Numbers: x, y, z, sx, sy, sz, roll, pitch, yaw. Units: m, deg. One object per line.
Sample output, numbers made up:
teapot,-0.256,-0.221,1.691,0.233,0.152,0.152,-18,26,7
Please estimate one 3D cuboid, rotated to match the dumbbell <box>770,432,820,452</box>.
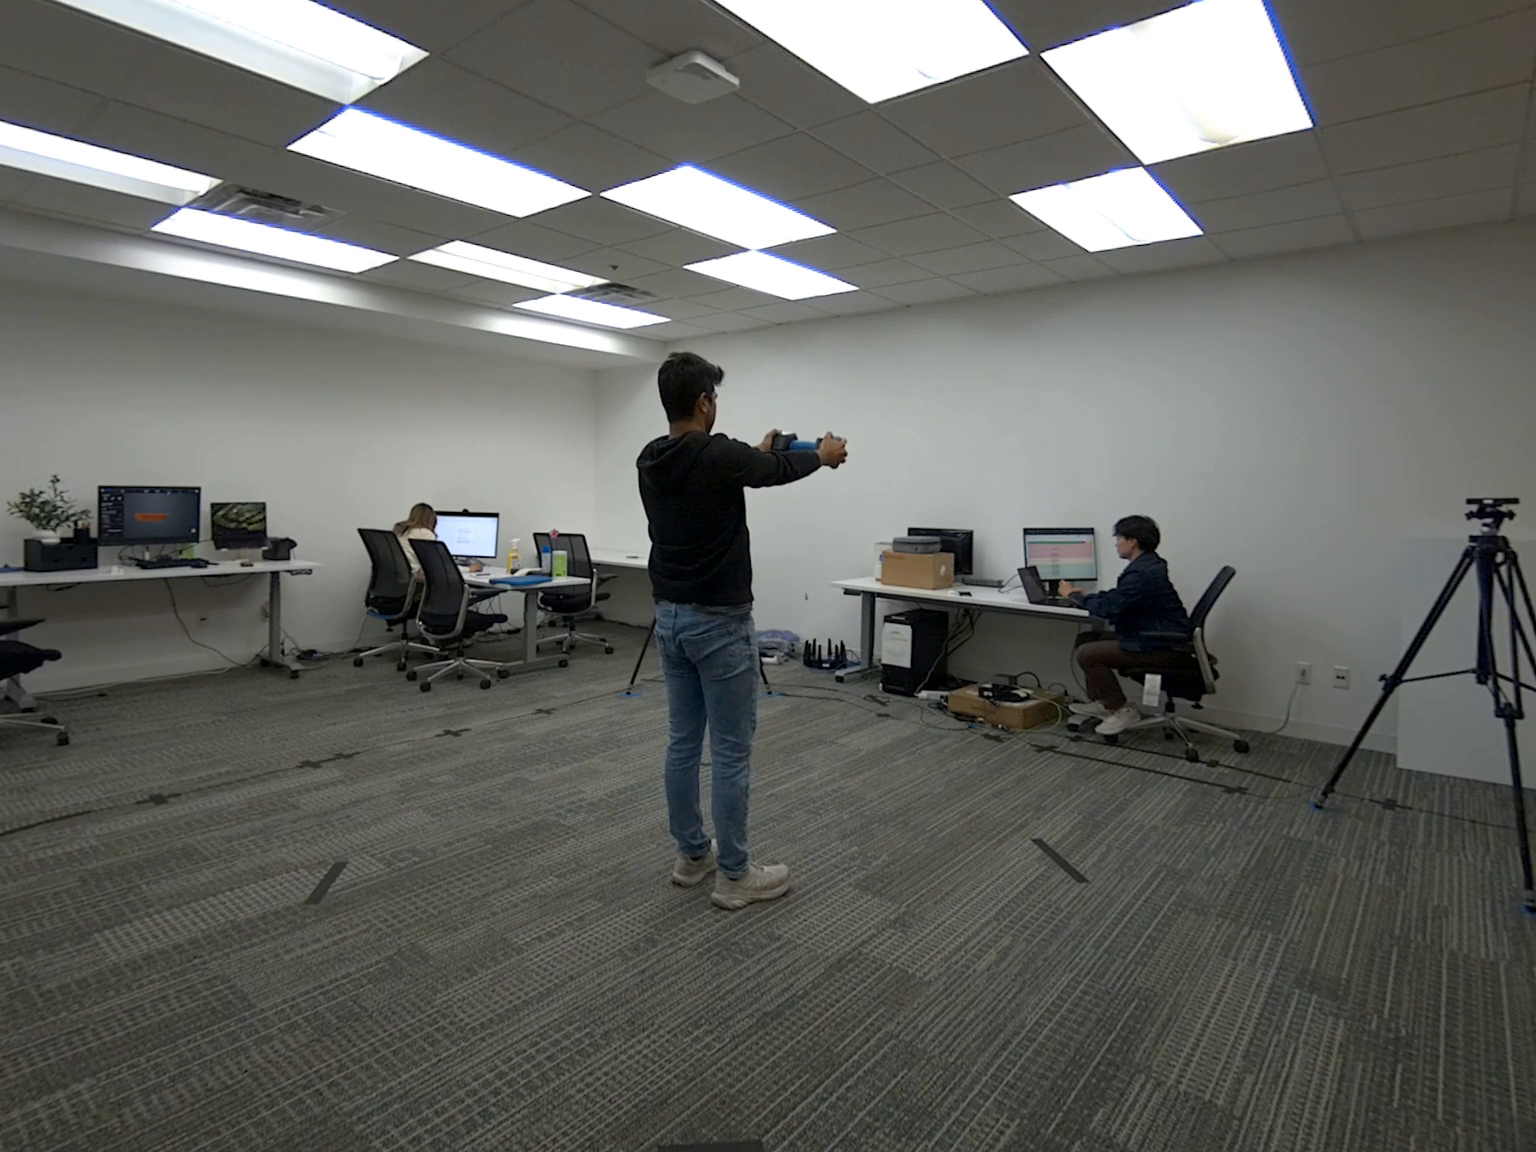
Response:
dumbbell,0.134,-0.499,3.290,0.304,0.123,0.104,14,-8,36
